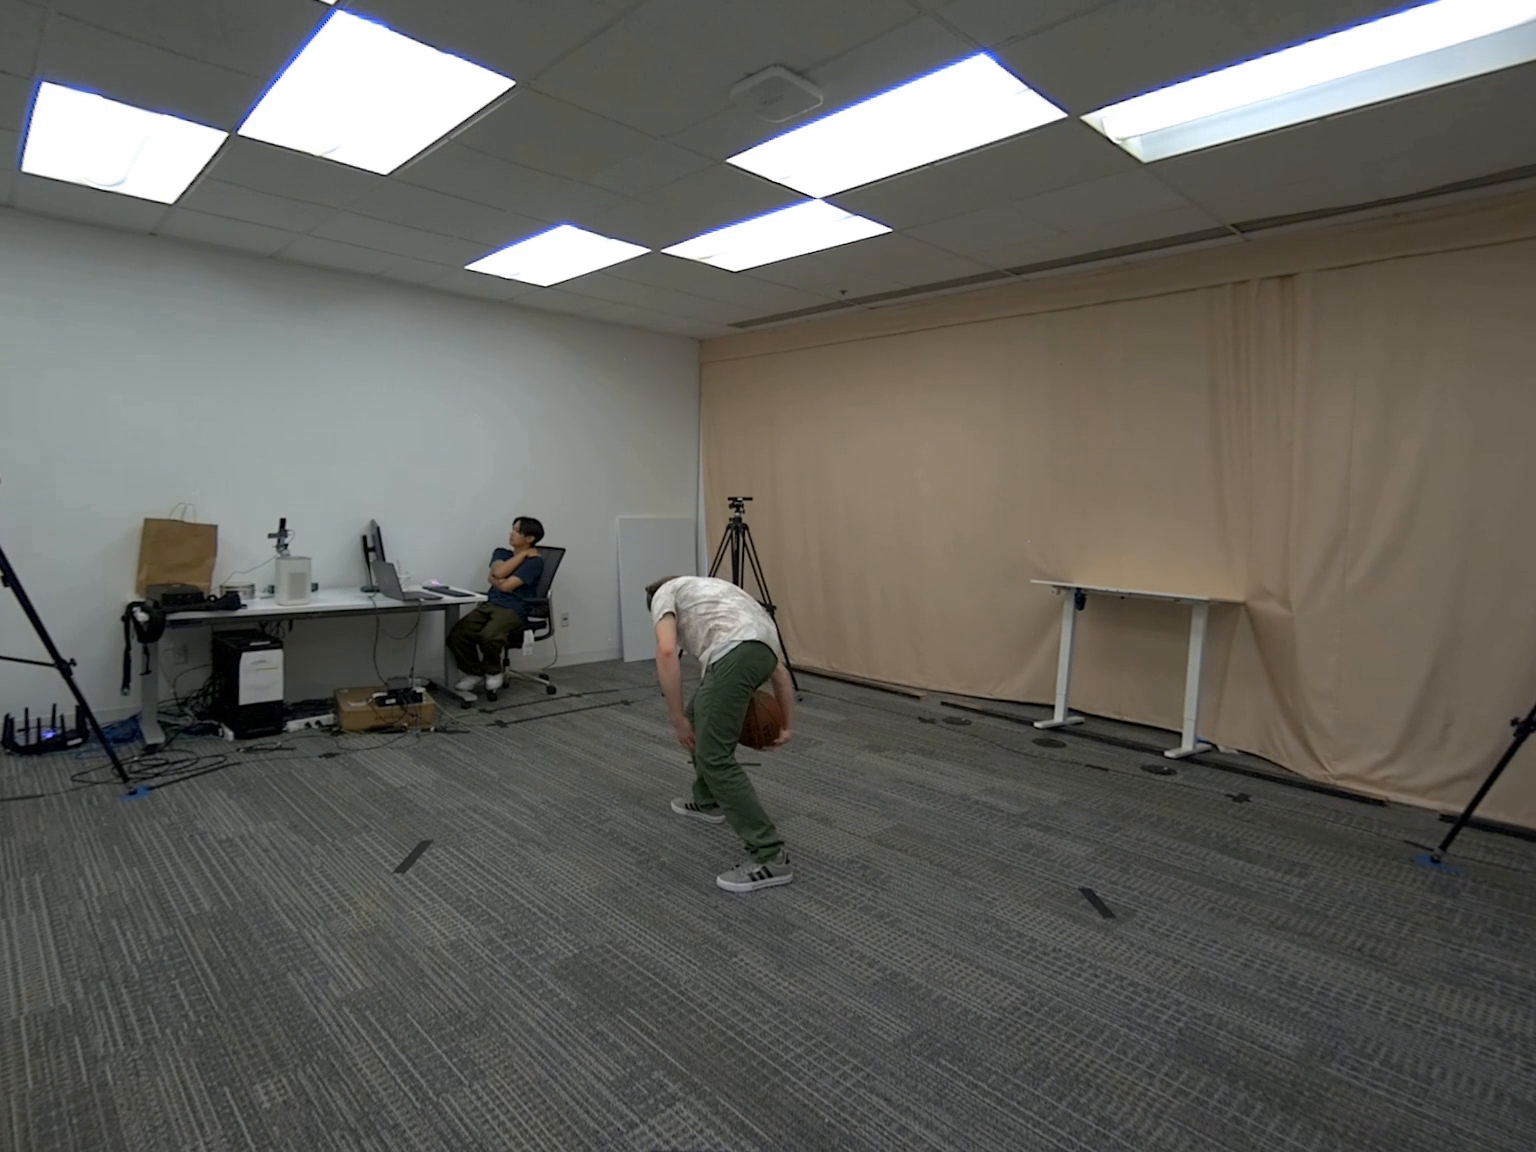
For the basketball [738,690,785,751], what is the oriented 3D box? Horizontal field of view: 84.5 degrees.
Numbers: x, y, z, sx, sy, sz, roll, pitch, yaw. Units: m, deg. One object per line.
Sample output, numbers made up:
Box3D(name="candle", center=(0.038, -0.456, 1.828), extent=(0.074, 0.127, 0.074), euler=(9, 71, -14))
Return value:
Box3D(name="basketball", center=(-0.066, 0.597, 3.507), extent=(0.236, 0.235, 0.237), euler=(1, 4, -1))
